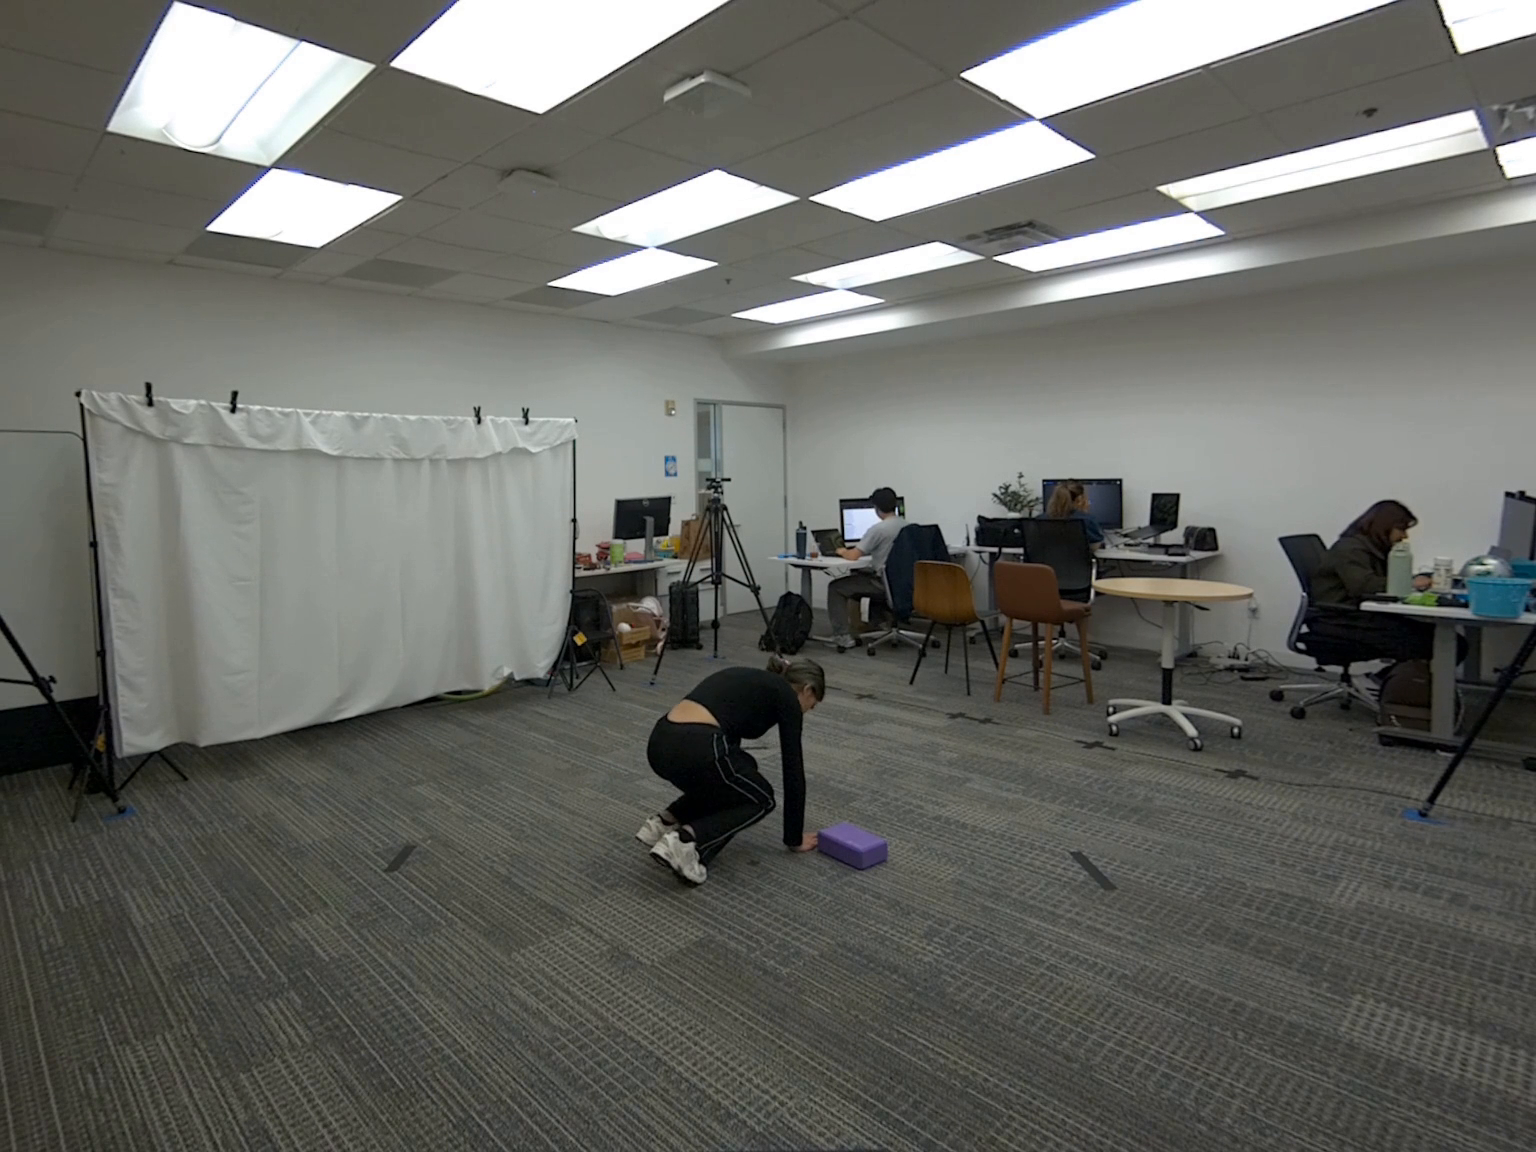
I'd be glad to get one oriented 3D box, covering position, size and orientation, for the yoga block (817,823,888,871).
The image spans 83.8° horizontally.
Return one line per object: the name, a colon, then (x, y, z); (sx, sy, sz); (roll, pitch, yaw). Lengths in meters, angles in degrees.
yoga block: (0.310, 0.987, 3.146); (0.145, 0.076, 0.236); (-5, 8, -39)
